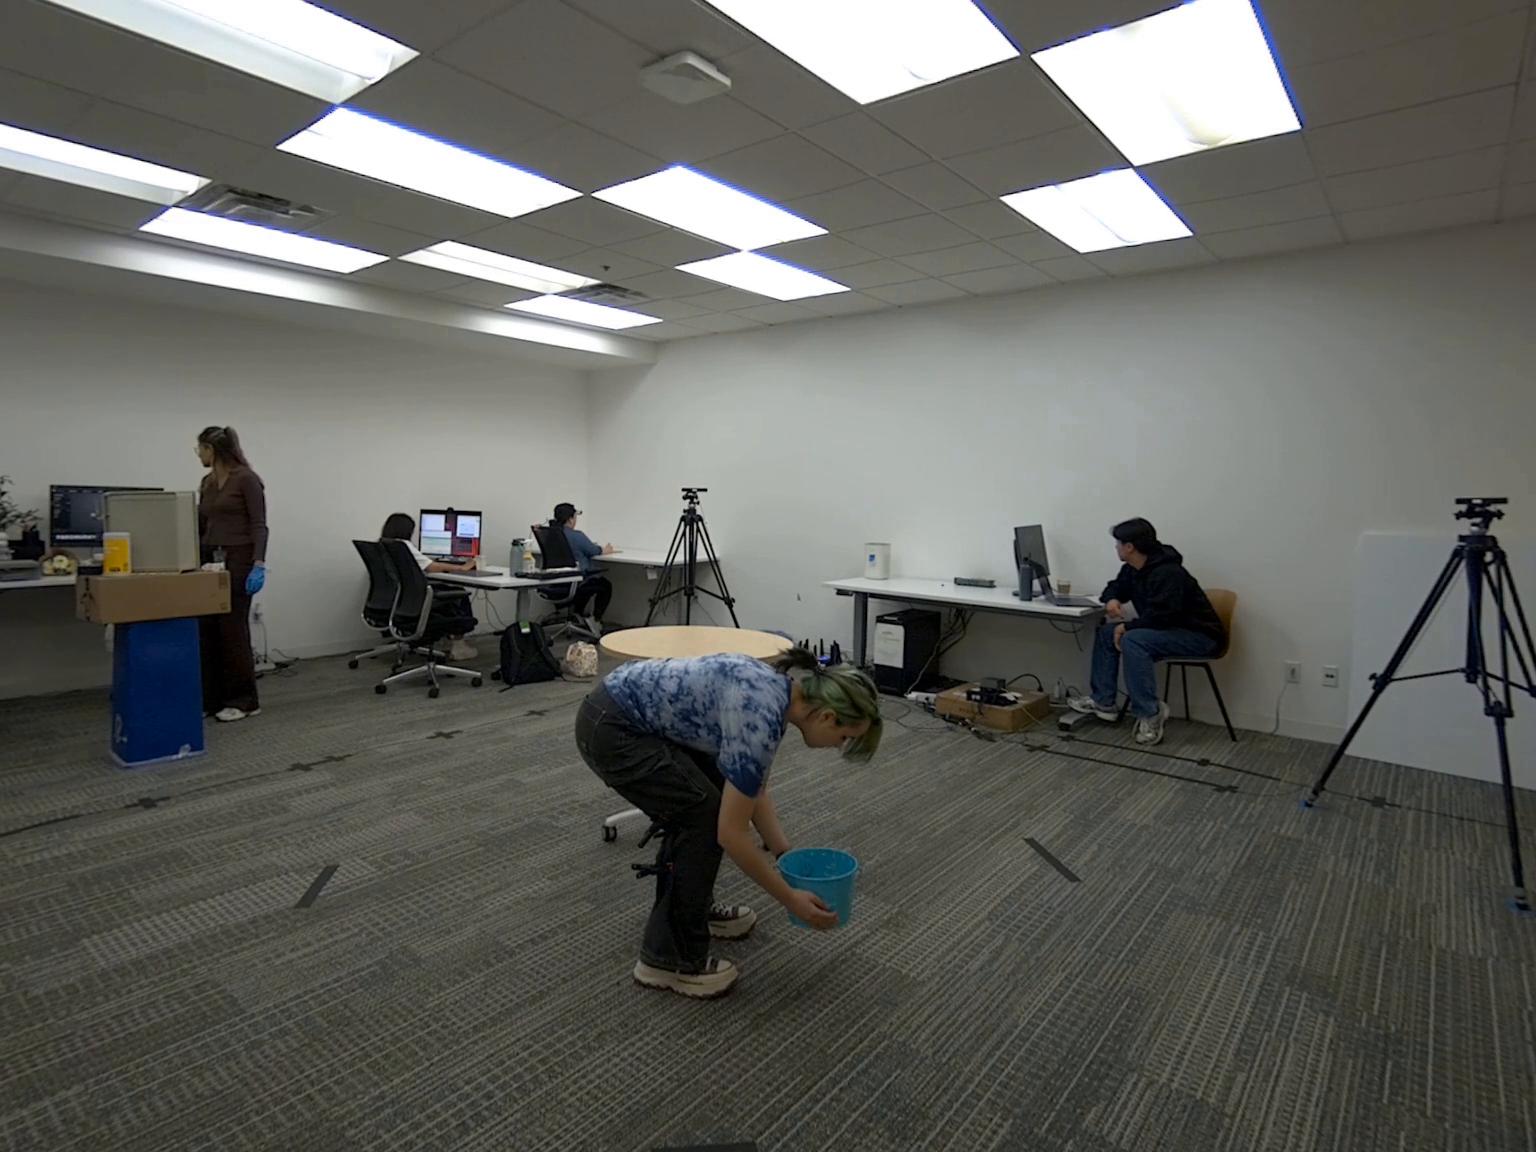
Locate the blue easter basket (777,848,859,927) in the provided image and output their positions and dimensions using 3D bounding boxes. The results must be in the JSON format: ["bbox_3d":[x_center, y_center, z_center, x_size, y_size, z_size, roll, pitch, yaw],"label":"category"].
[{"bbox_3d":[0.146,0.891,2.441,0.243,0.155,0.244,-2,3,-2],"label":"blue easter basket"}]
